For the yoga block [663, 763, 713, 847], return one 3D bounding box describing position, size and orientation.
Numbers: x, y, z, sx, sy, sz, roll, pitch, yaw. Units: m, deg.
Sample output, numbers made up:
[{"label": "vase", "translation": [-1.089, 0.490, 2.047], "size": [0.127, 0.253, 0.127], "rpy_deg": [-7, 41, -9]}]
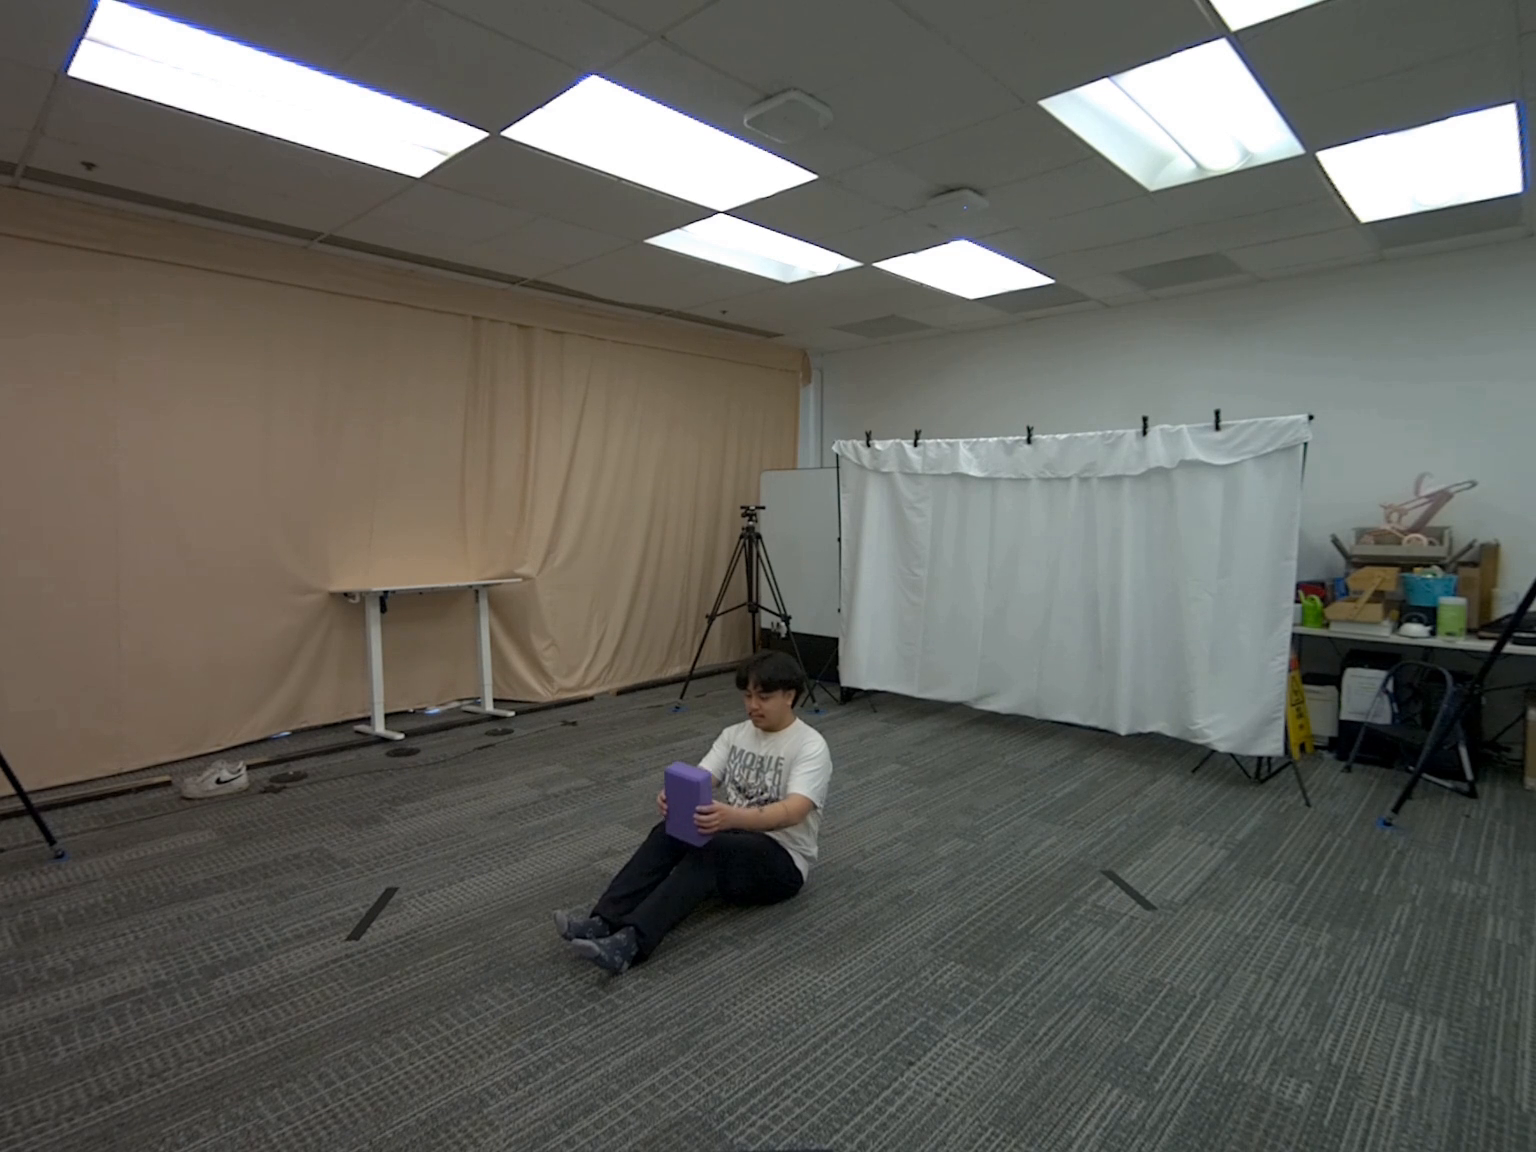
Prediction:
[{"label": "yoga block", "translation": [-0.244, 0.718, 2.650], "size": [0.154, 0.228, 0.074], "rpy_deg": [8, 13, 36]}]
